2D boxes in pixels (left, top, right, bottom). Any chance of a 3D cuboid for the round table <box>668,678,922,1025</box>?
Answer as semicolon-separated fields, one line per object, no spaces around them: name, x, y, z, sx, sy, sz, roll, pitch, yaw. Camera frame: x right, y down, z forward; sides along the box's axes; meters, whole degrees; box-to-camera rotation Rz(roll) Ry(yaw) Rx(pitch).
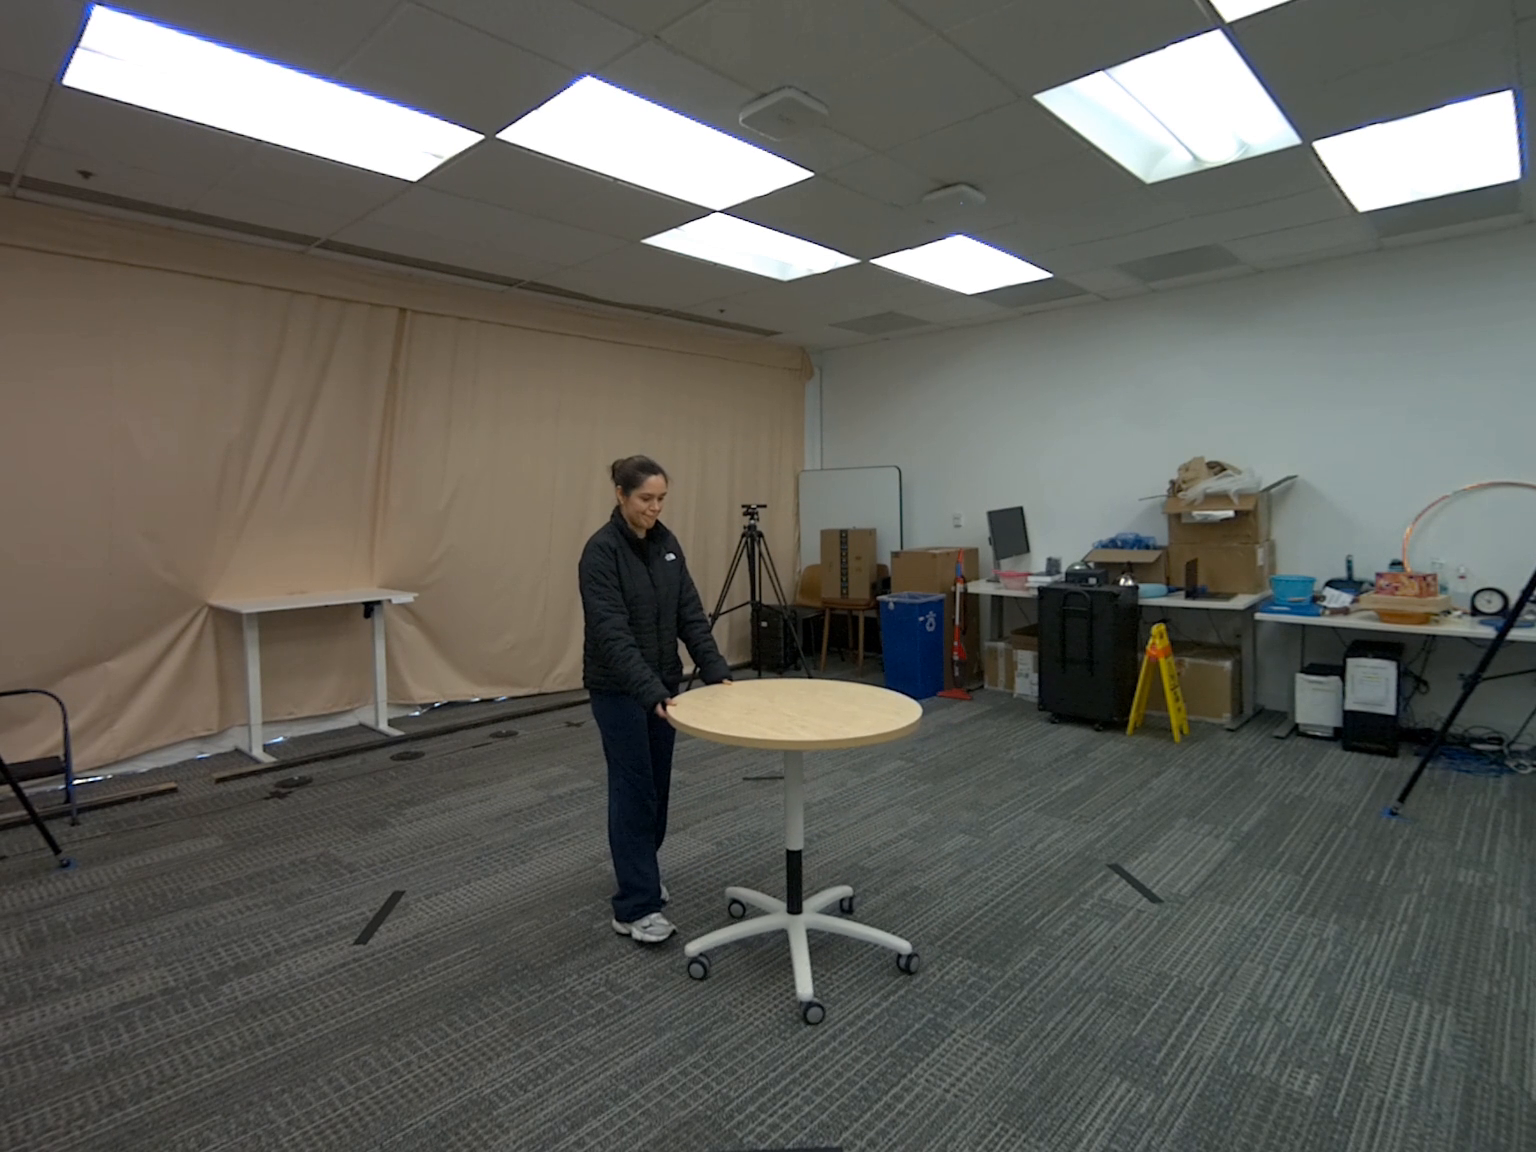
round table;0.097;0.779;2.591;0.784;0.784;0.788;-1;4;-2
